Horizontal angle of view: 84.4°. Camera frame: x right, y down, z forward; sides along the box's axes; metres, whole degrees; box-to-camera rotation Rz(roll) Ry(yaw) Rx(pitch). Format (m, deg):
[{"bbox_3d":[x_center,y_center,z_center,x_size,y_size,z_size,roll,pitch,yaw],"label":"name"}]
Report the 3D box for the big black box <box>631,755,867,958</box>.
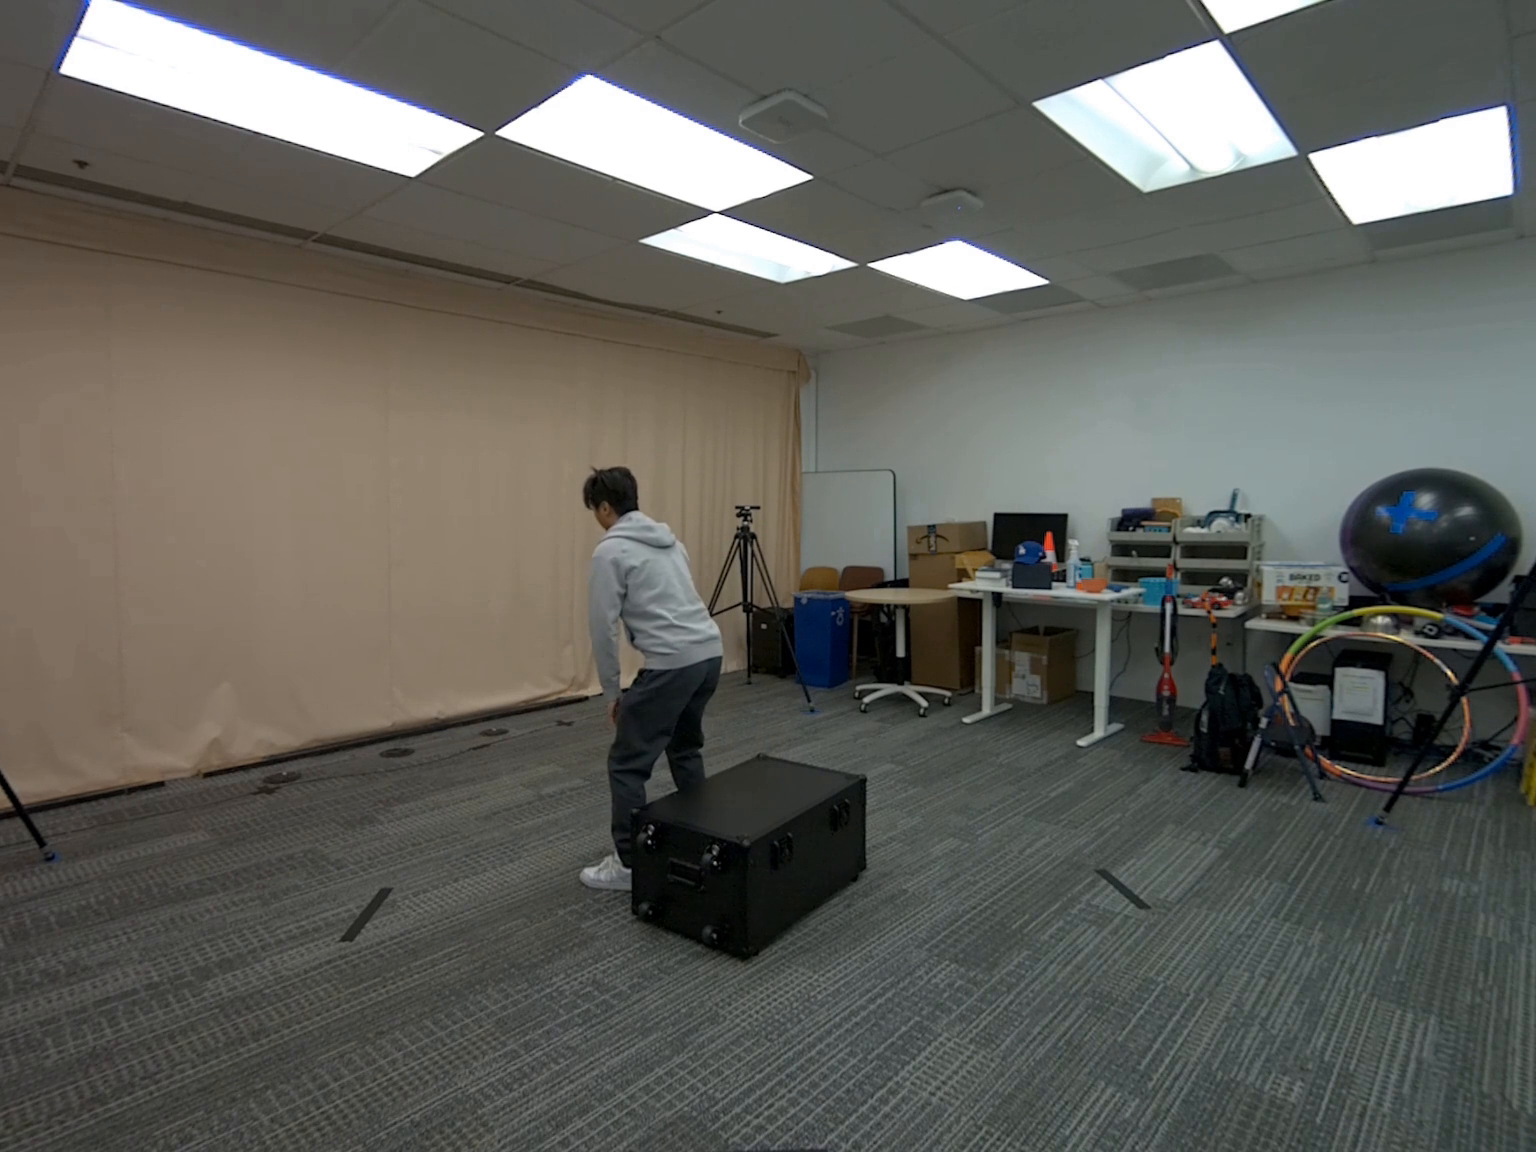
[{"bbox_3d":[-0.018,0.955,3.010,0.538,0.395,0.837,3,6,36],"label":"big black box"}]
